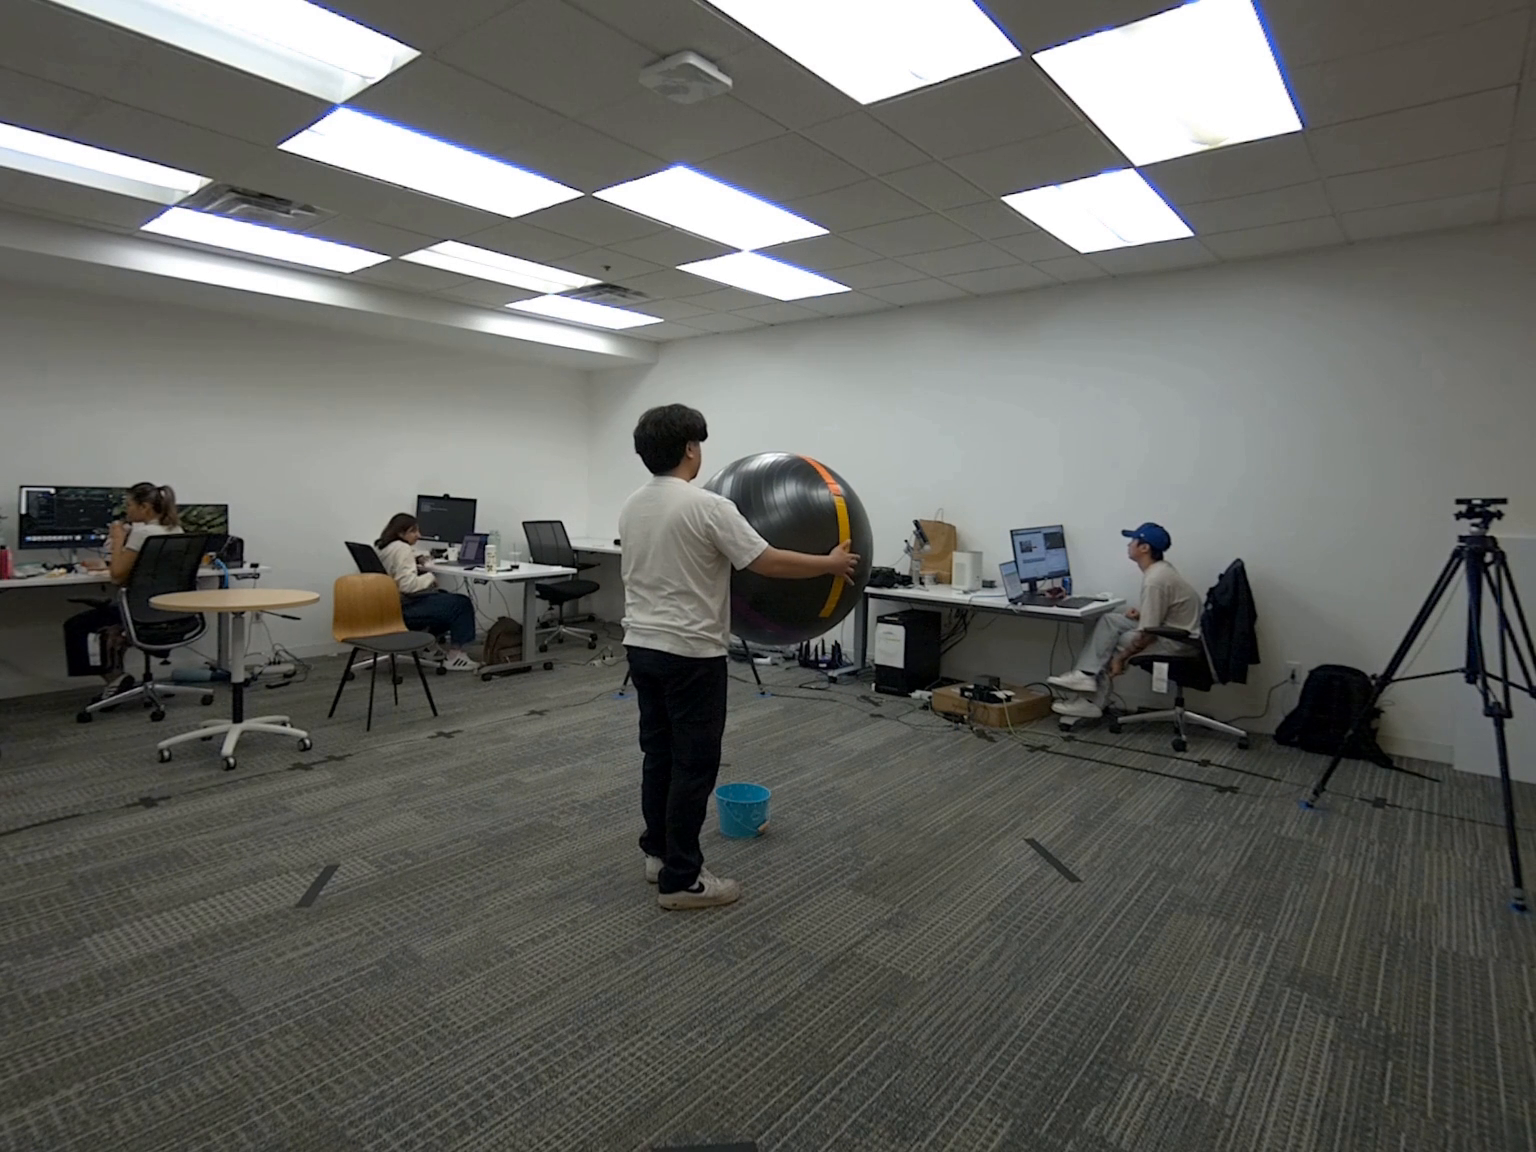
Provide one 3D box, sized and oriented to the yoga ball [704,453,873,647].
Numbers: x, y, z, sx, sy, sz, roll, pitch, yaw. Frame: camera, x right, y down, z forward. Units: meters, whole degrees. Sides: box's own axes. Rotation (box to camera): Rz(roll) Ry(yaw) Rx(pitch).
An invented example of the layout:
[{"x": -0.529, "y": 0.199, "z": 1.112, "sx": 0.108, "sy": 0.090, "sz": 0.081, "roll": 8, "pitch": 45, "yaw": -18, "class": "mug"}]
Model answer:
[{"x": 0.037, "y": -0.106, "z": 3.368, "sx": 0.757, "sy": 0.755, "sz": 0.762, "roll": 1, "pitch": 4, "yaw": -2, "class": "yoga ball"}]
